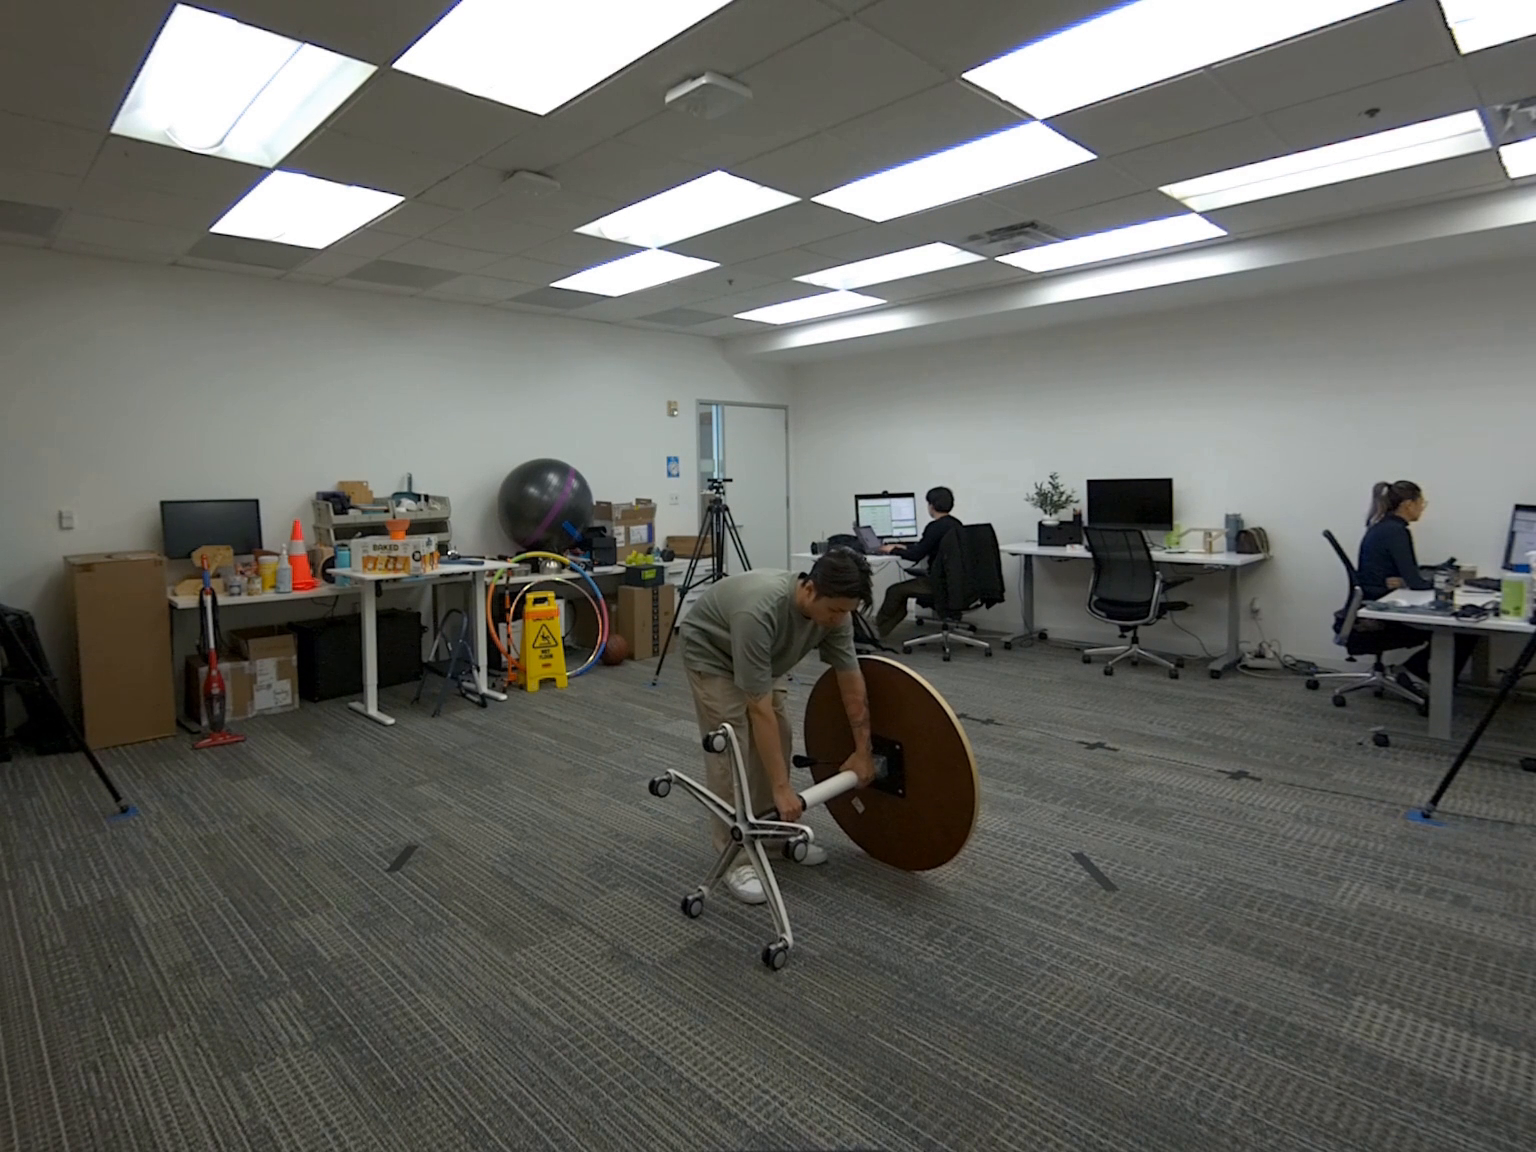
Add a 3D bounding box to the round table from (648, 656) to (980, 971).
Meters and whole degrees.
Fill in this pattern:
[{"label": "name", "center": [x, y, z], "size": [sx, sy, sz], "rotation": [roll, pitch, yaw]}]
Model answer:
[{"label": "round table", "center": [0.138, 0.734, 2.788], "size": [0.769, 0.779, 0.809], "rotation": [-13, 12, -41]}]
